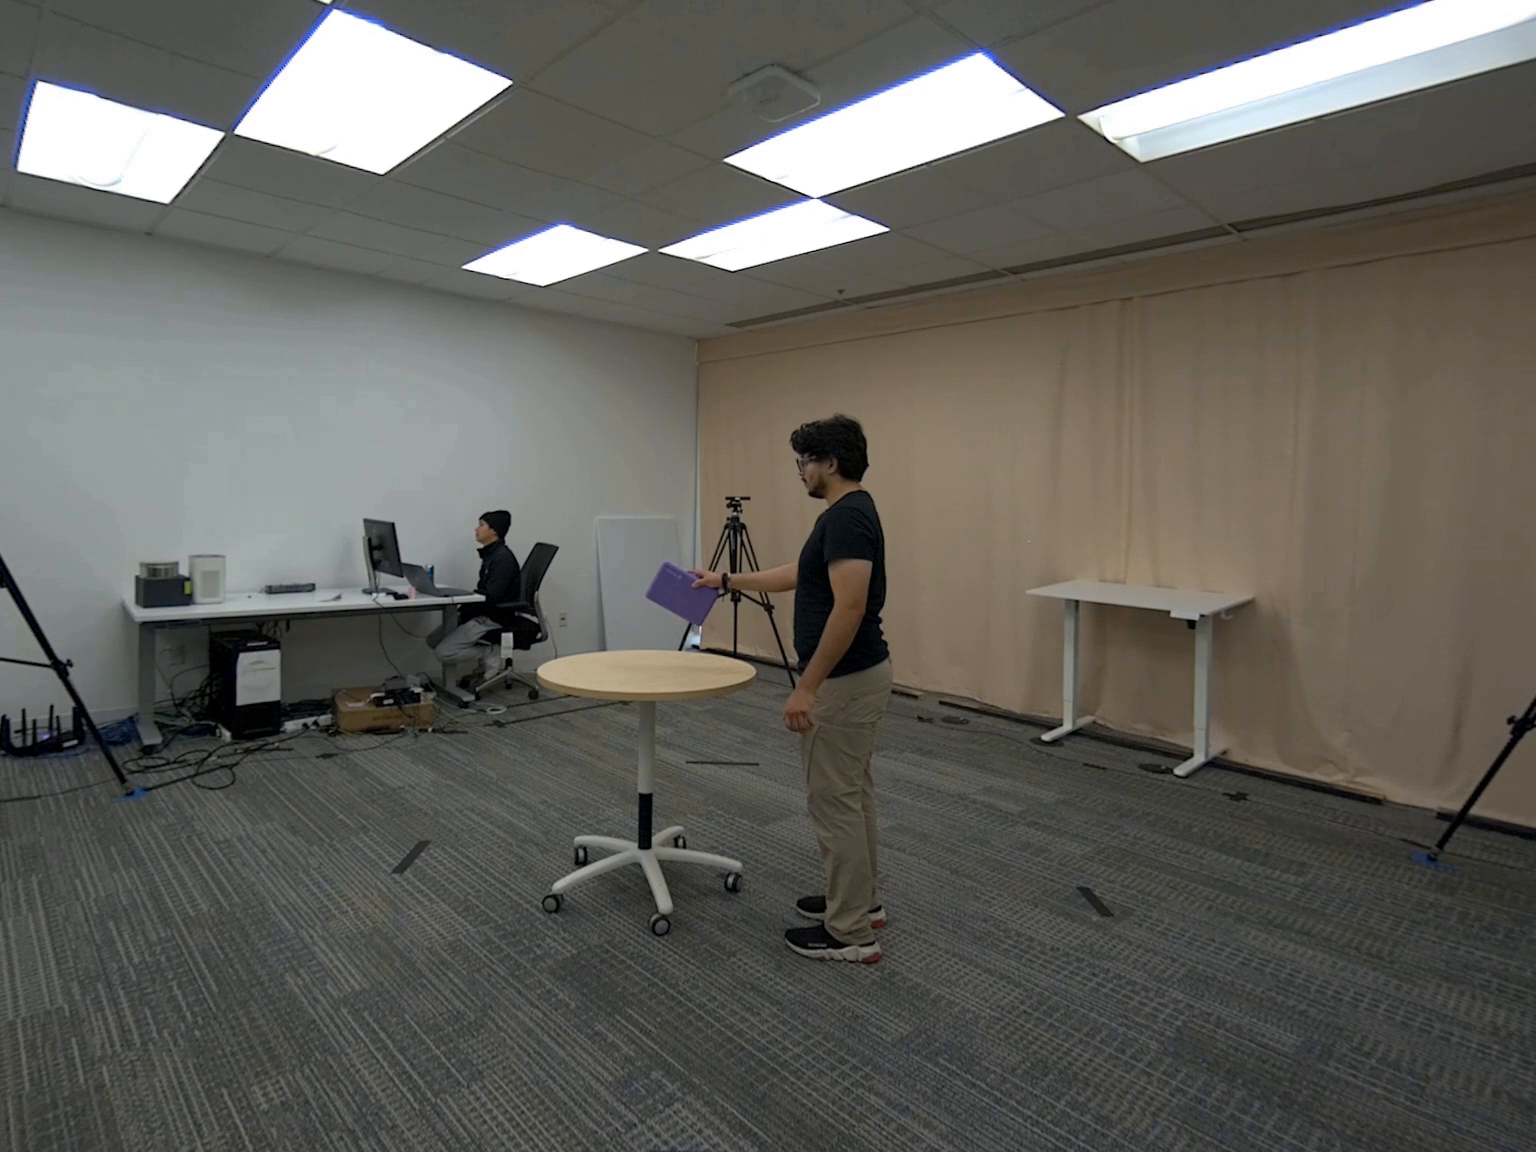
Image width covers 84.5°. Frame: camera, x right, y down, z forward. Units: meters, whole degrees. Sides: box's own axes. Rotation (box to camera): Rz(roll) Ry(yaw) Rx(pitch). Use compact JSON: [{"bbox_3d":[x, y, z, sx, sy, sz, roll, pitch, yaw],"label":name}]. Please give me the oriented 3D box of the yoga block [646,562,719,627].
[{"bbox_3d":[-0.310,0.065,3.012,0.229,0.149,0.077,31,8,-2],"label":"yoga block"}]
